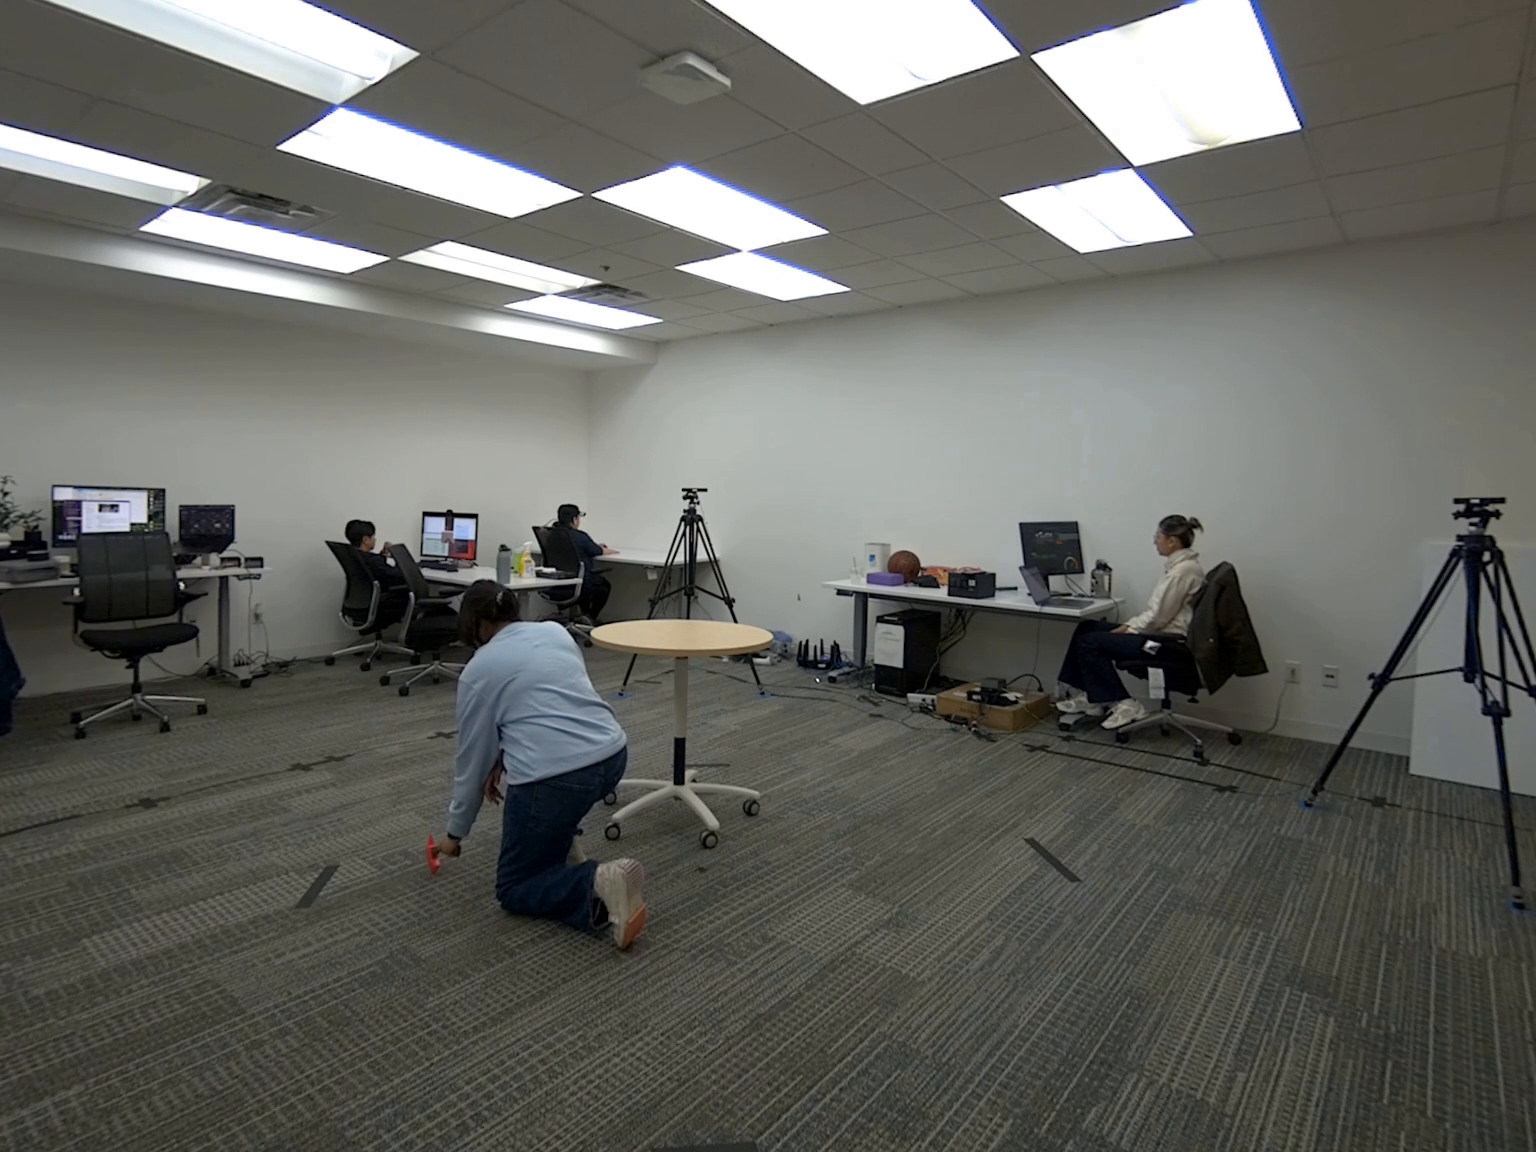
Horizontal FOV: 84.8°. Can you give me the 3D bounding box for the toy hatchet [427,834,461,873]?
[{"bbox_3d":[-1.161,0.990,2.996,0.028,0.132,0.277,11,-12,-39],"label":"toy hatchet"}]
